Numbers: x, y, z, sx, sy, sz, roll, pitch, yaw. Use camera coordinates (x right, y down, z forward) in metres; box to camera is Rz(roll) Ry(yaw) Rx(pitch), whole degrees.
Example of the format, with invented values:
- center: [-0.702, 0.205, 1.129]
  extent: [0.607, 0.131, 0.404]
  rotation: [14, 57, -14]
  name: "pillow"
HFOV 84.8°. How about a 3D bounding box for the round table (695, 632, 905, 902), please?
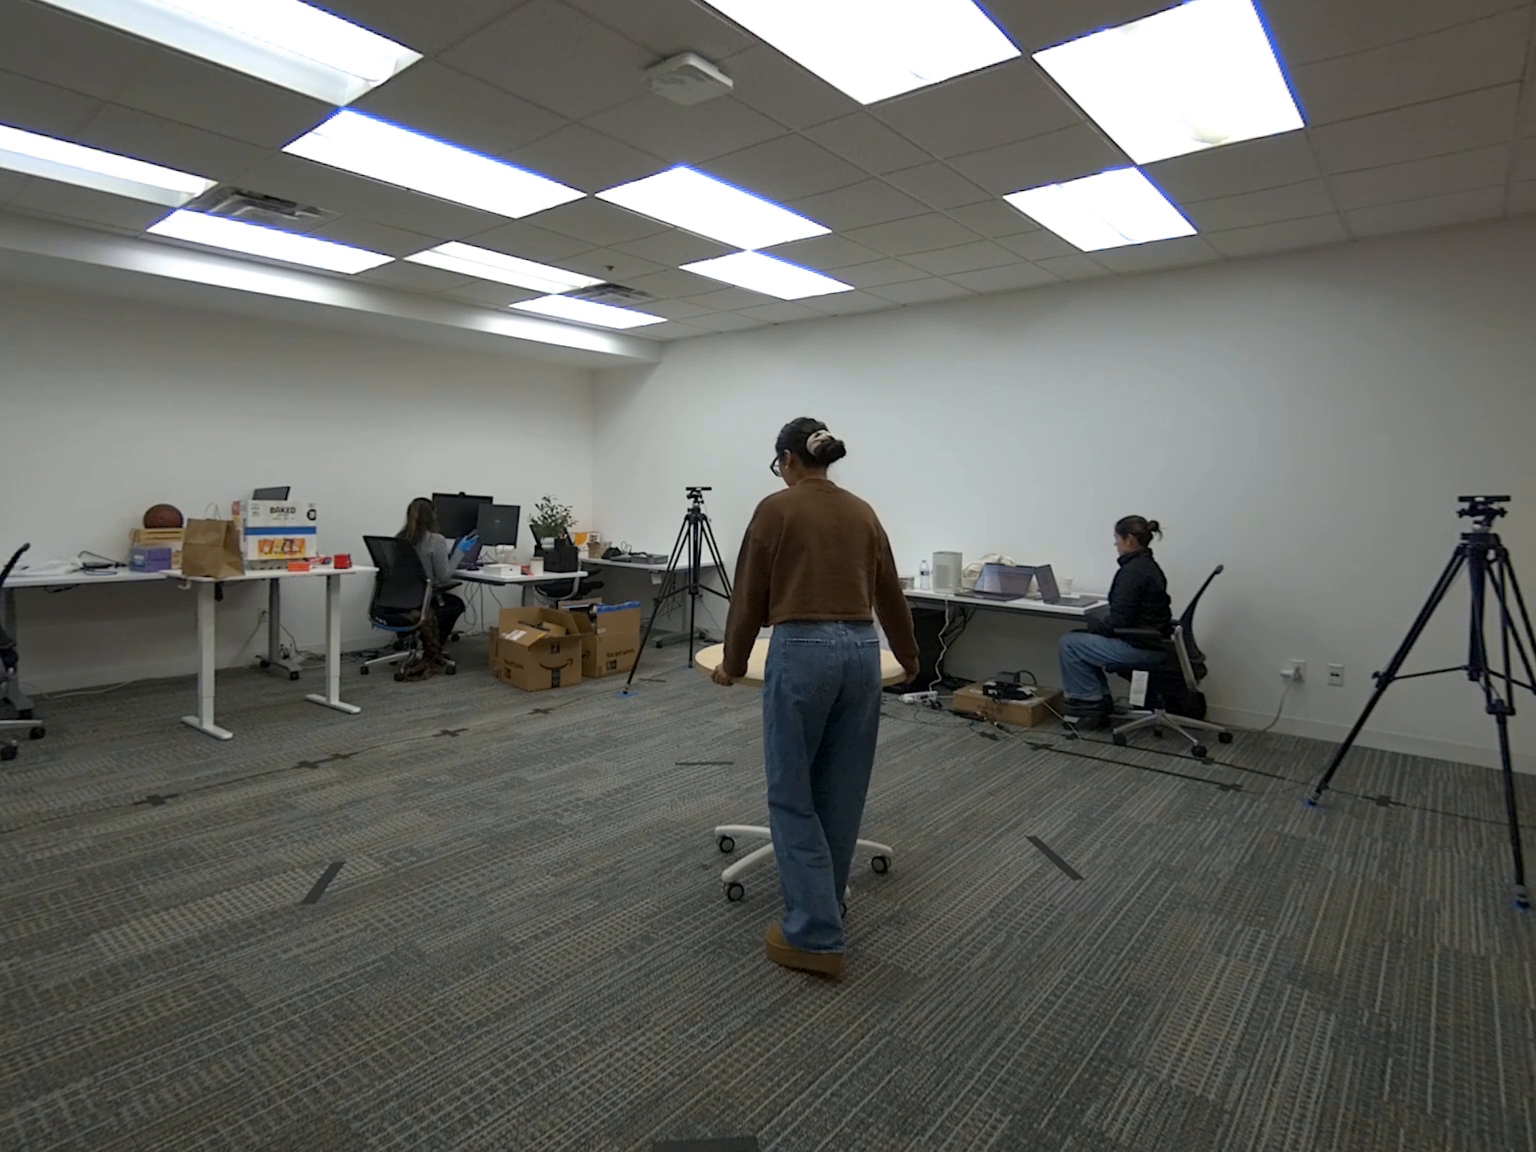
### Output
- center: [0.101, 0.682, 3.068]
  extent: [0.763, 0.791, 0.768]
  rotation: [1, 4, -2]
  name: "round table"
